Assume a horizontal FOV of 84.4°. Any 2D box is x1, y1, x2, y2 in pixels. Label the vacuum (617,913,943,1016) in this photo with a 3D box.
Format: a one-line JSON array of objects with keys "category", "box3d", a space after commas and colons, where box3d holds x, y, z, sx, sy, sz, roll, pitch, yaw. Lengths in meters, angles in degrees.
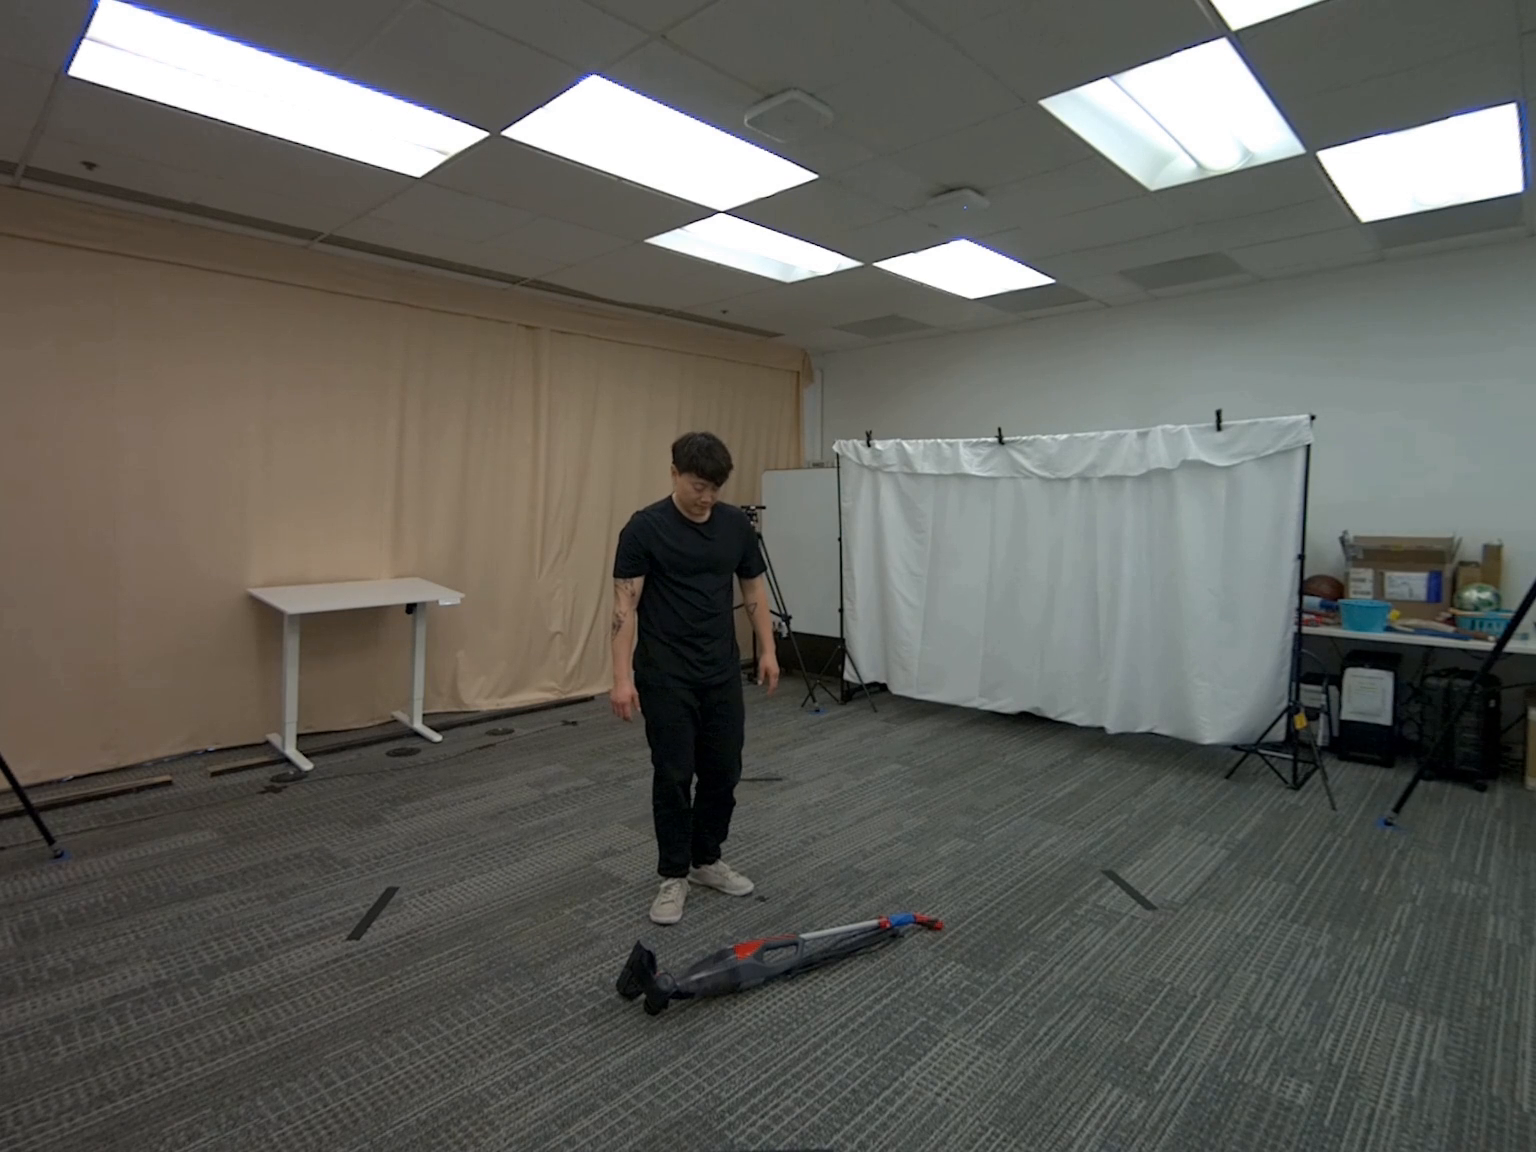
[{"category": "vacuum", "box3d": [0.118, 1.131, 2.535, 1.022, 0.251, 0.148, 3, 37, -26]}]
